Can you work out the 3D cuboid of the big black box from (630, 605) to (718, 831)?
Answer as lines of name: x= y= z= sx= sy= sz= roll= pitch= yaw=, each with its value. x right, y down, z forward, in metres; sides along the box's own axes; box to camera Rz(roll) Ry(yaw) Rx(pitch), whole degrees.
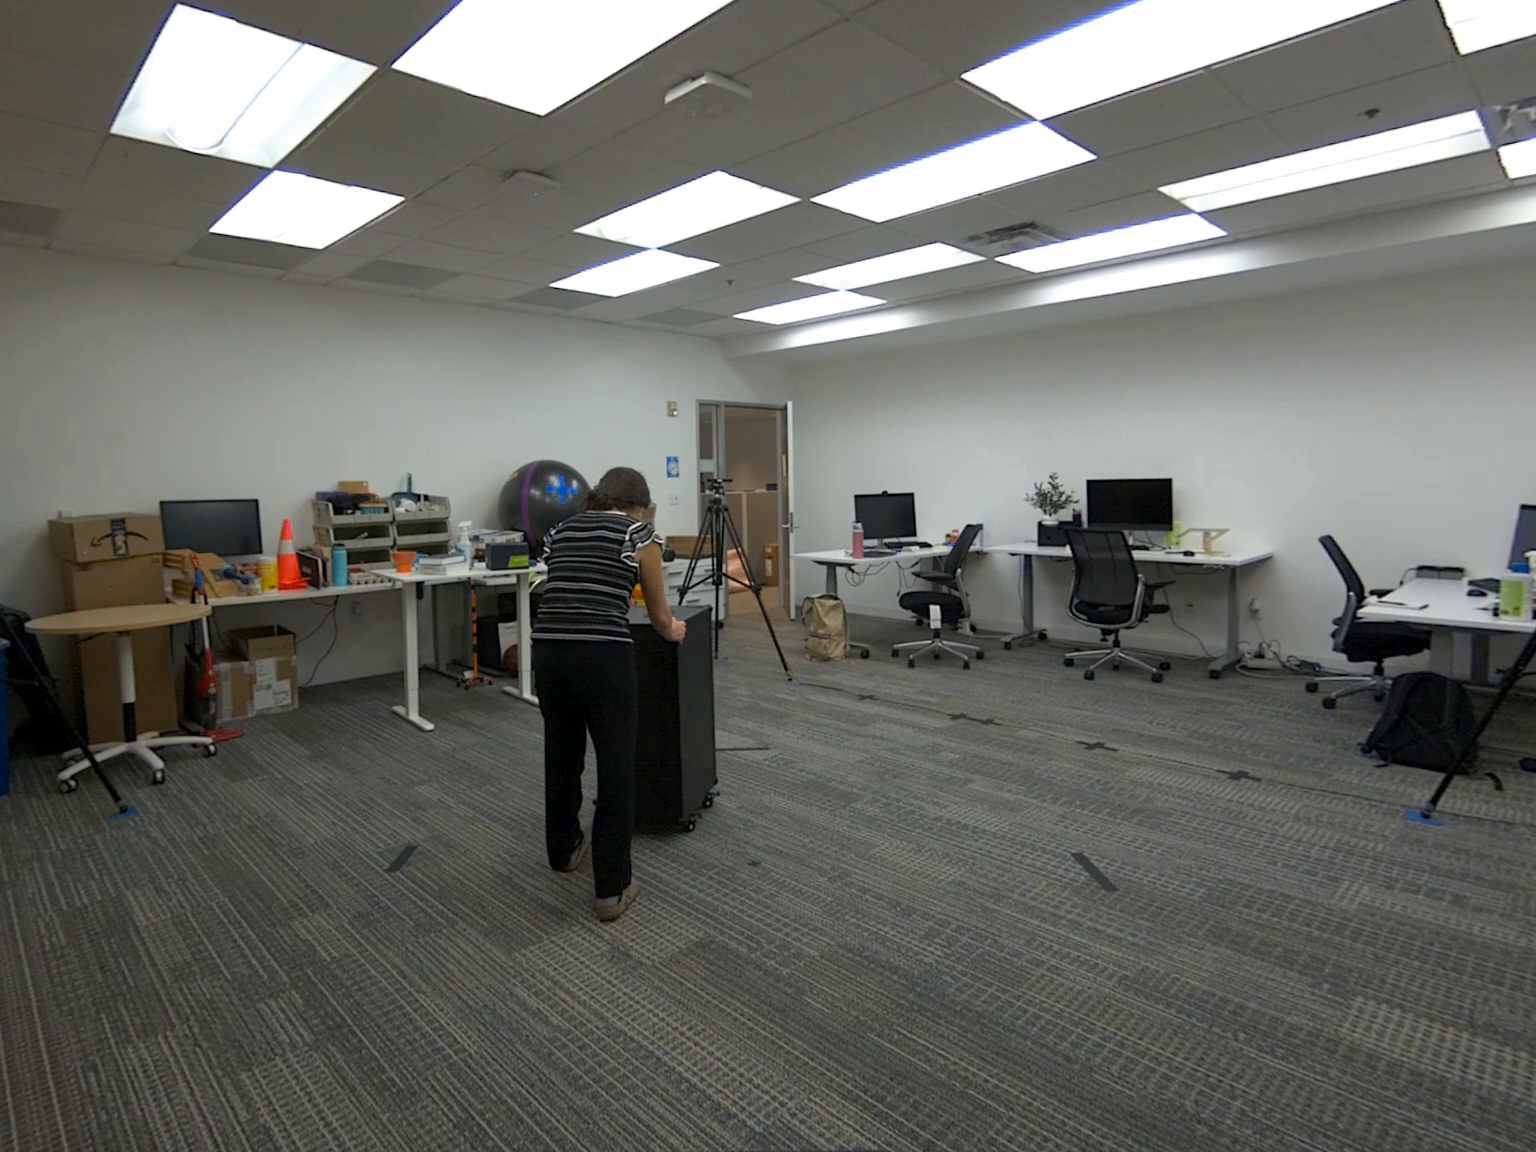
big black box: x=-0.463 y=0.587 z=3.532 sx=0.402 sy=0.859 sz=0.515 roll=-2 pitch=4 yaw=14
